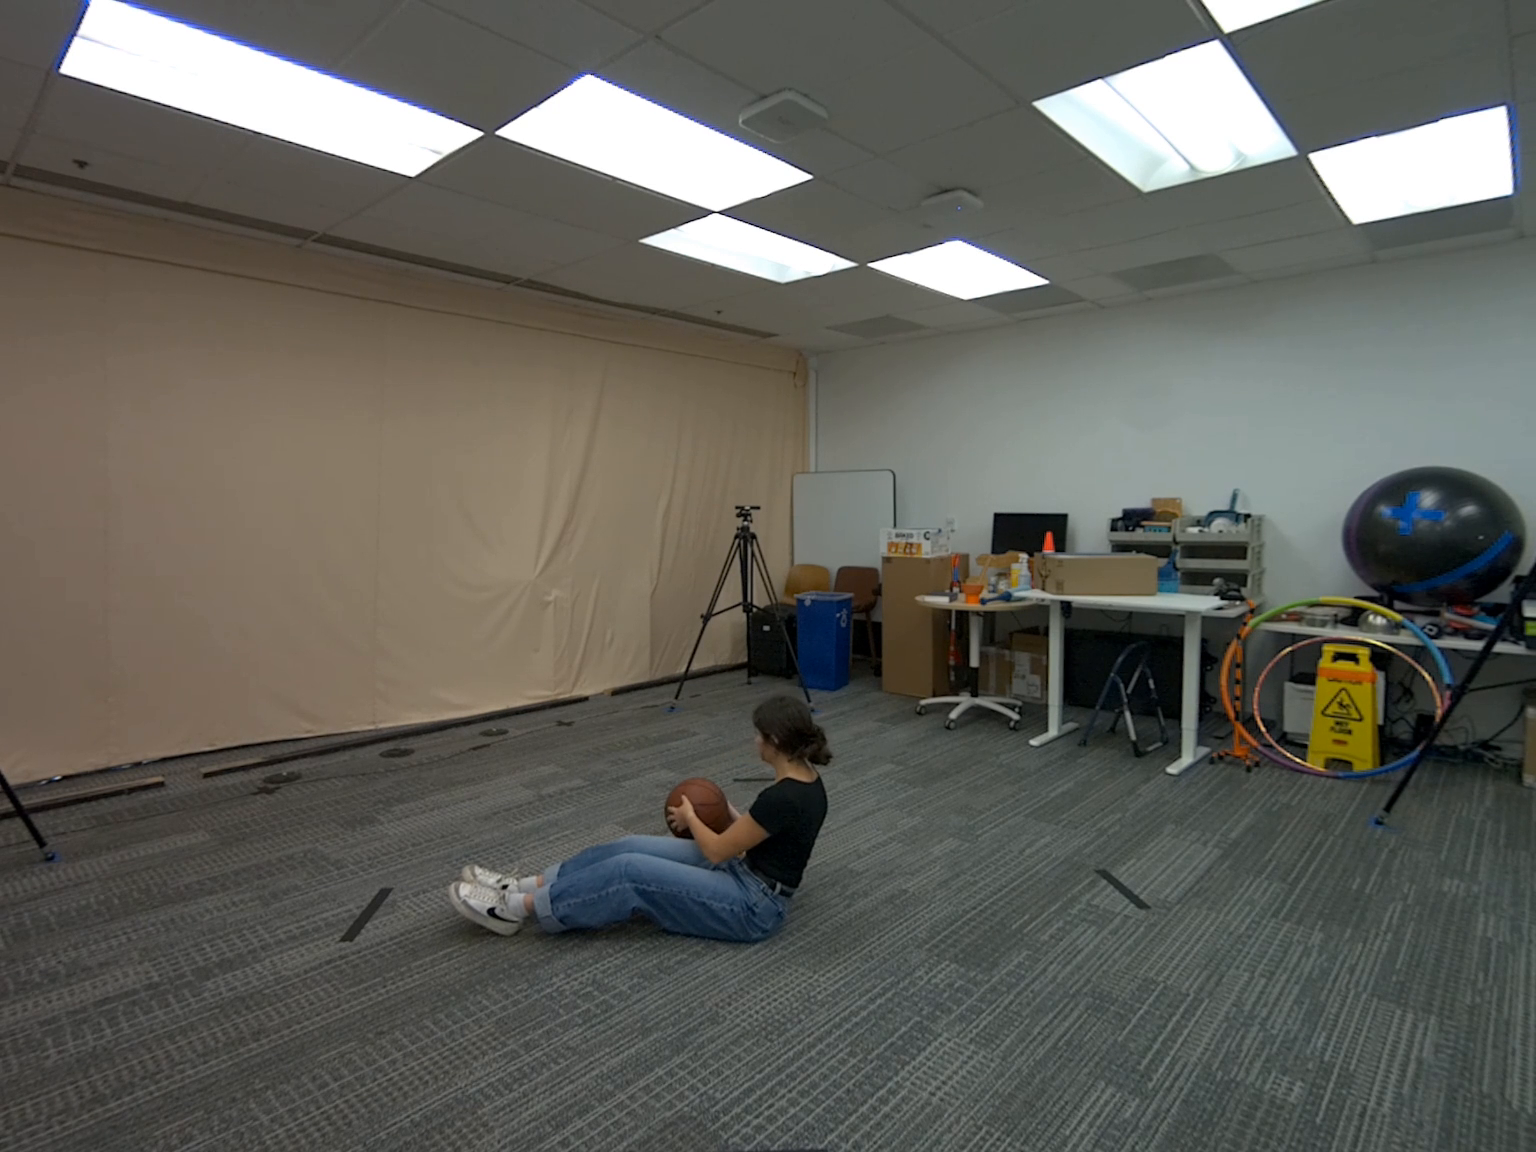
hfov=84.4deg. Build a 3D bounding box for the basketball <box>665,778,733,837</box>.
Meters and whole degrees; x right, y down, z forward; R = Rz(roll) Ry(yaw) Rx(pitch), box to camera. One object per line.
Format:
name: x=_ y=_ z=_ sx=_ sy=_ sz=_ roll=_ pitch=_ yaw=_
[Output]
basketball: x=-0.268 y=0.875 z=3.124 sx=0.236 sy=0.235 sz=0.237 roll=0 pitch=4 yaw=-2
